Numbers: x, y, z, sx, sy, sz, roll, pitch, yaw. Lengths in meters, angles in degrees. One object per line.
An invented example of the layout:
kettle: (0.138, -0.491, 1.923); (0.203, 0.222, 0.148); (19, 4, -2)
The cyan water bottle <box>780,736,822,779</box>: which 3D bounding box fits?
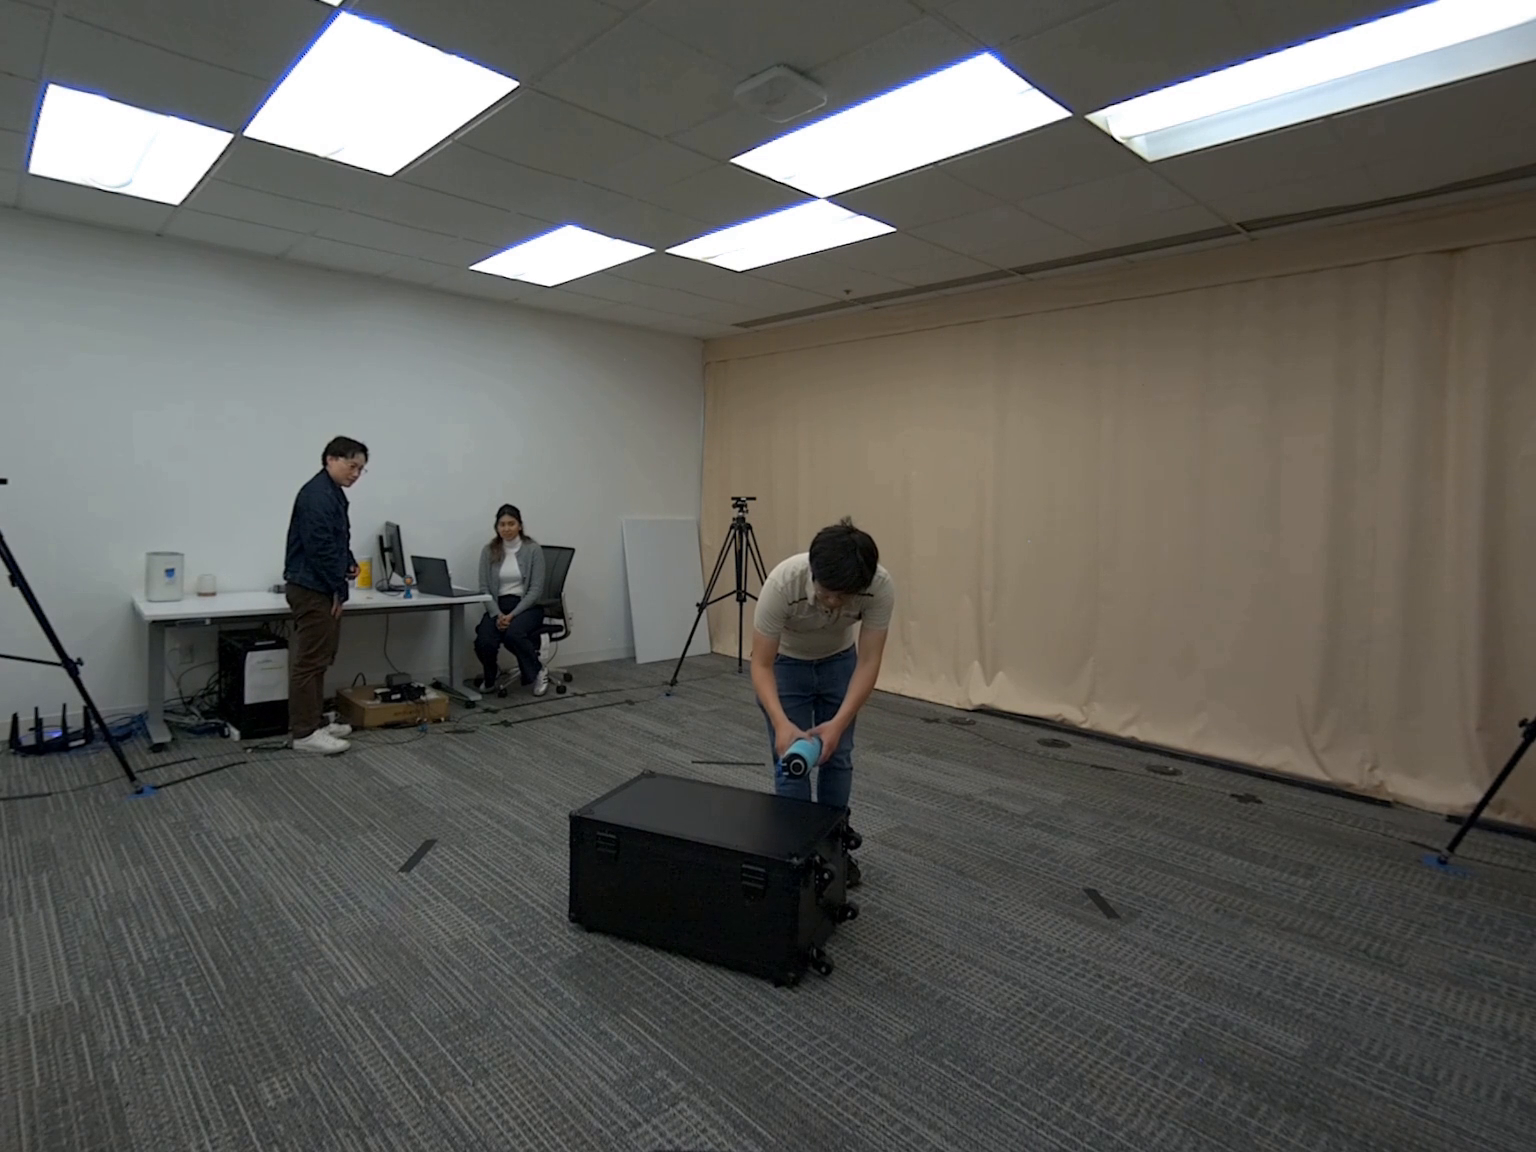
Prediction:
cyan water bottle: (0.095, 0.558, 2.584); (0.093, 0.092, 0.280); (3, 4, 15)
